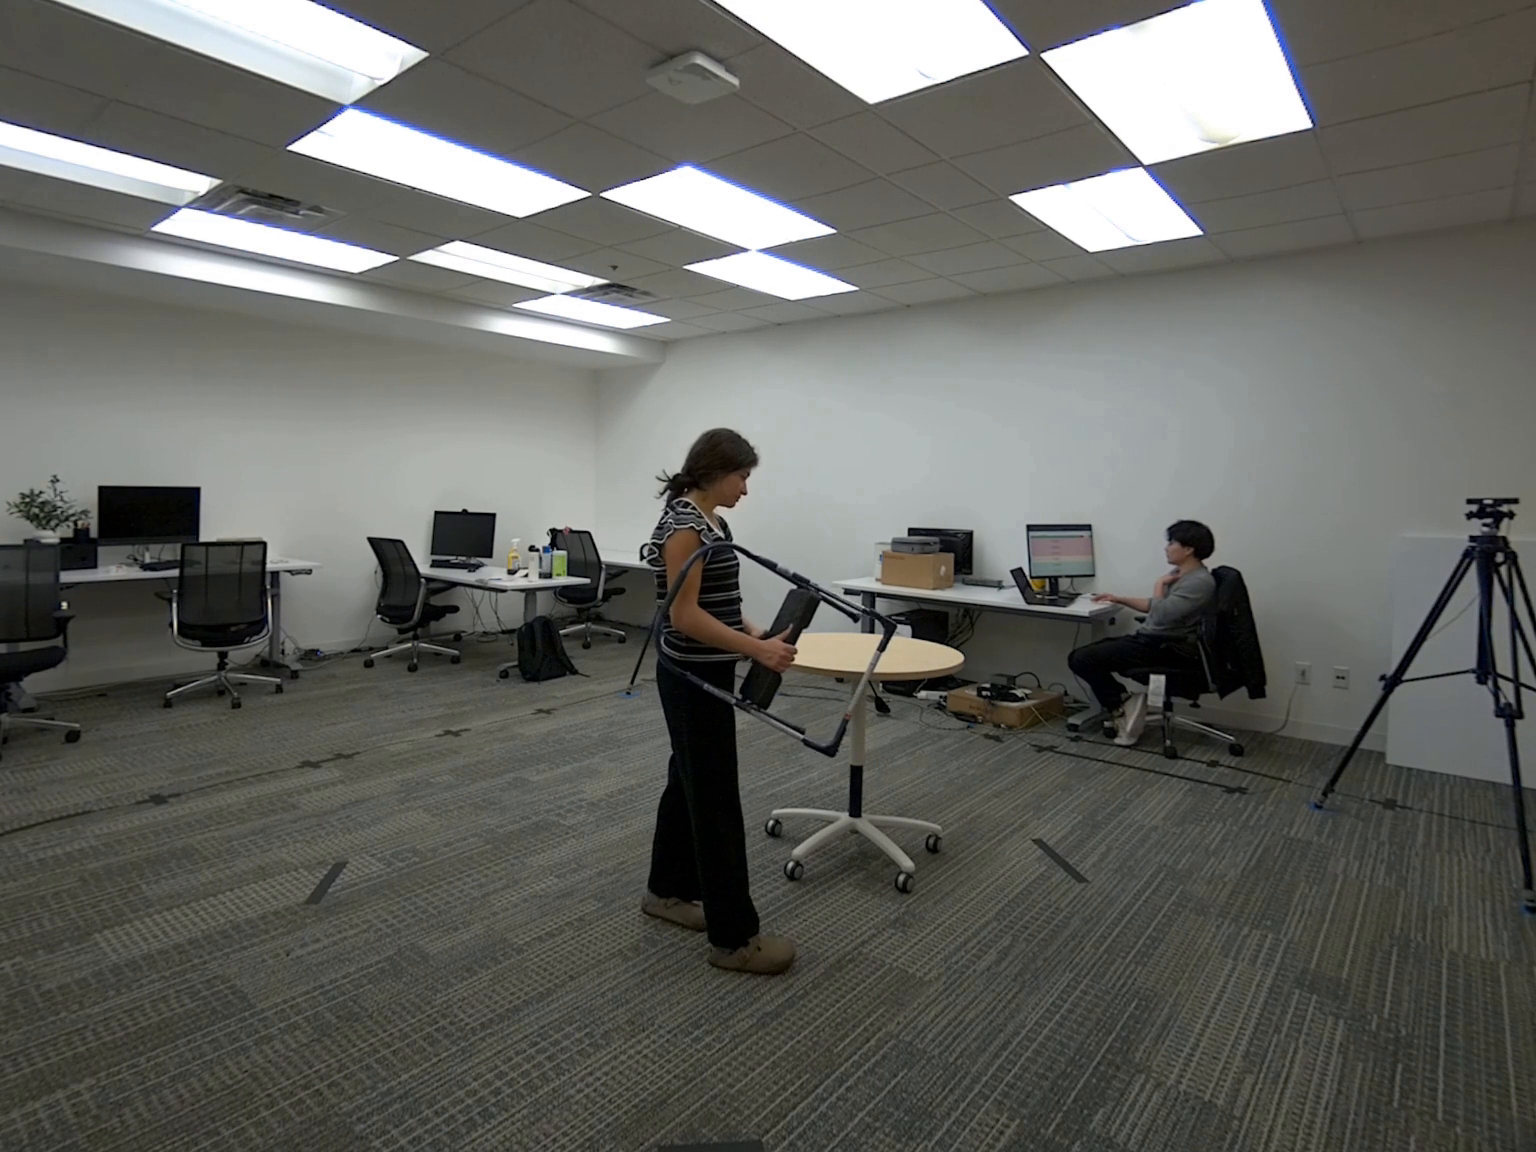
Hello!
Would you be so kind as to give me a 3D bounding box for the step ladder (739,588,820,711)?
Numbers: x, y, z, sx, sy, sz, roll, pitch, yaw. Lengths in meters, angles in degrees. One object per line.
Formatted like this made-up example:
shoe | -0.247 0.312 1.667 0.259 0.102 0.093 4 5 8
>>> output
step ladder | -0.029 0.174 2.458 0.597 0.432 0.354 29 -8 -11
